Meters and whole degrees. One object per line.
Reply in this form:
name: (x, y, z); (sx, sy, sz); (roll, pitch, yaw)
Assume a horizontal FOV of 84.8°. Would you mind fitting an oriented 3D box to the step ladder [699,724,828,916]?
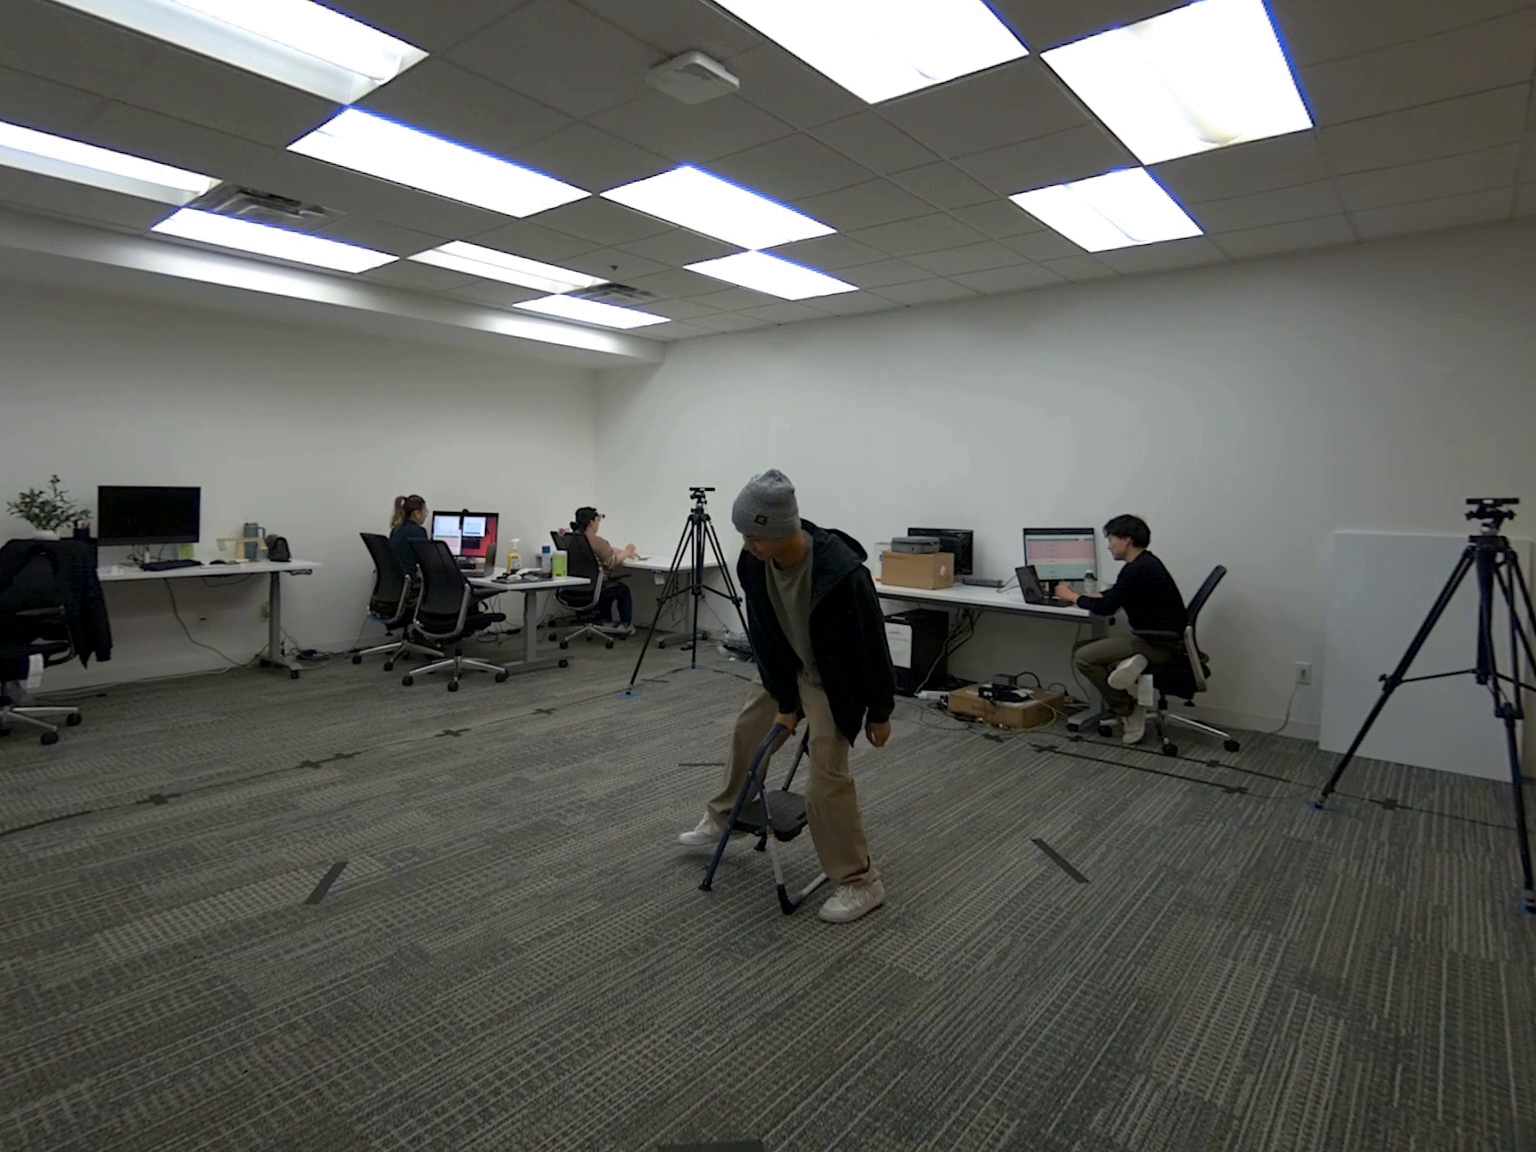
step ladder: (0.016, 0.780, 3.018); (0.359, 0.604, 0.420); (3, 4, 29)
